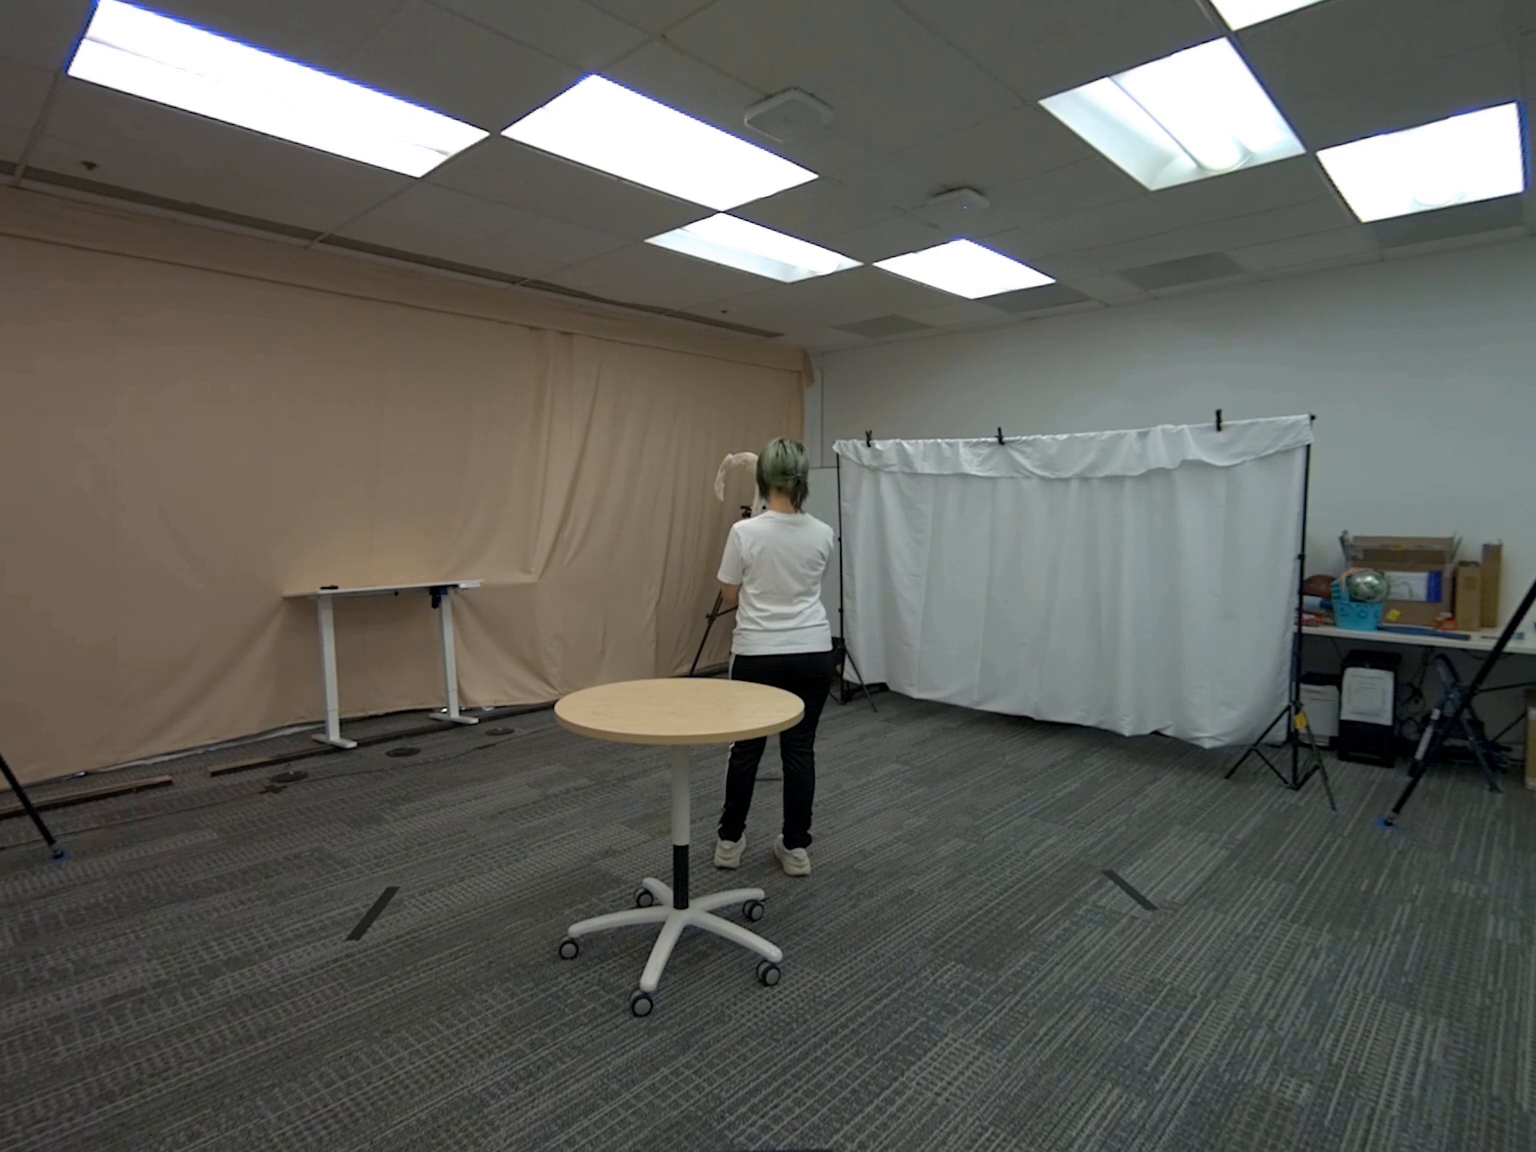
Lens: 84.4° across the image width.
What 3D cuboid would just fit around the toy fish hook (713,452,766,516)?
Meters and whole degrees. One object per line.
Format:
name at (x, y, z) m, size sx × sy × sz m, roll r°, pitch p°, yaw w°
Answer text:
toy fish hook at (-0.099, -0.259, 3.511) m, size 0.229 × 0.508 × 0.047 m, roll -5°, pitch -4°, yaw 19°
